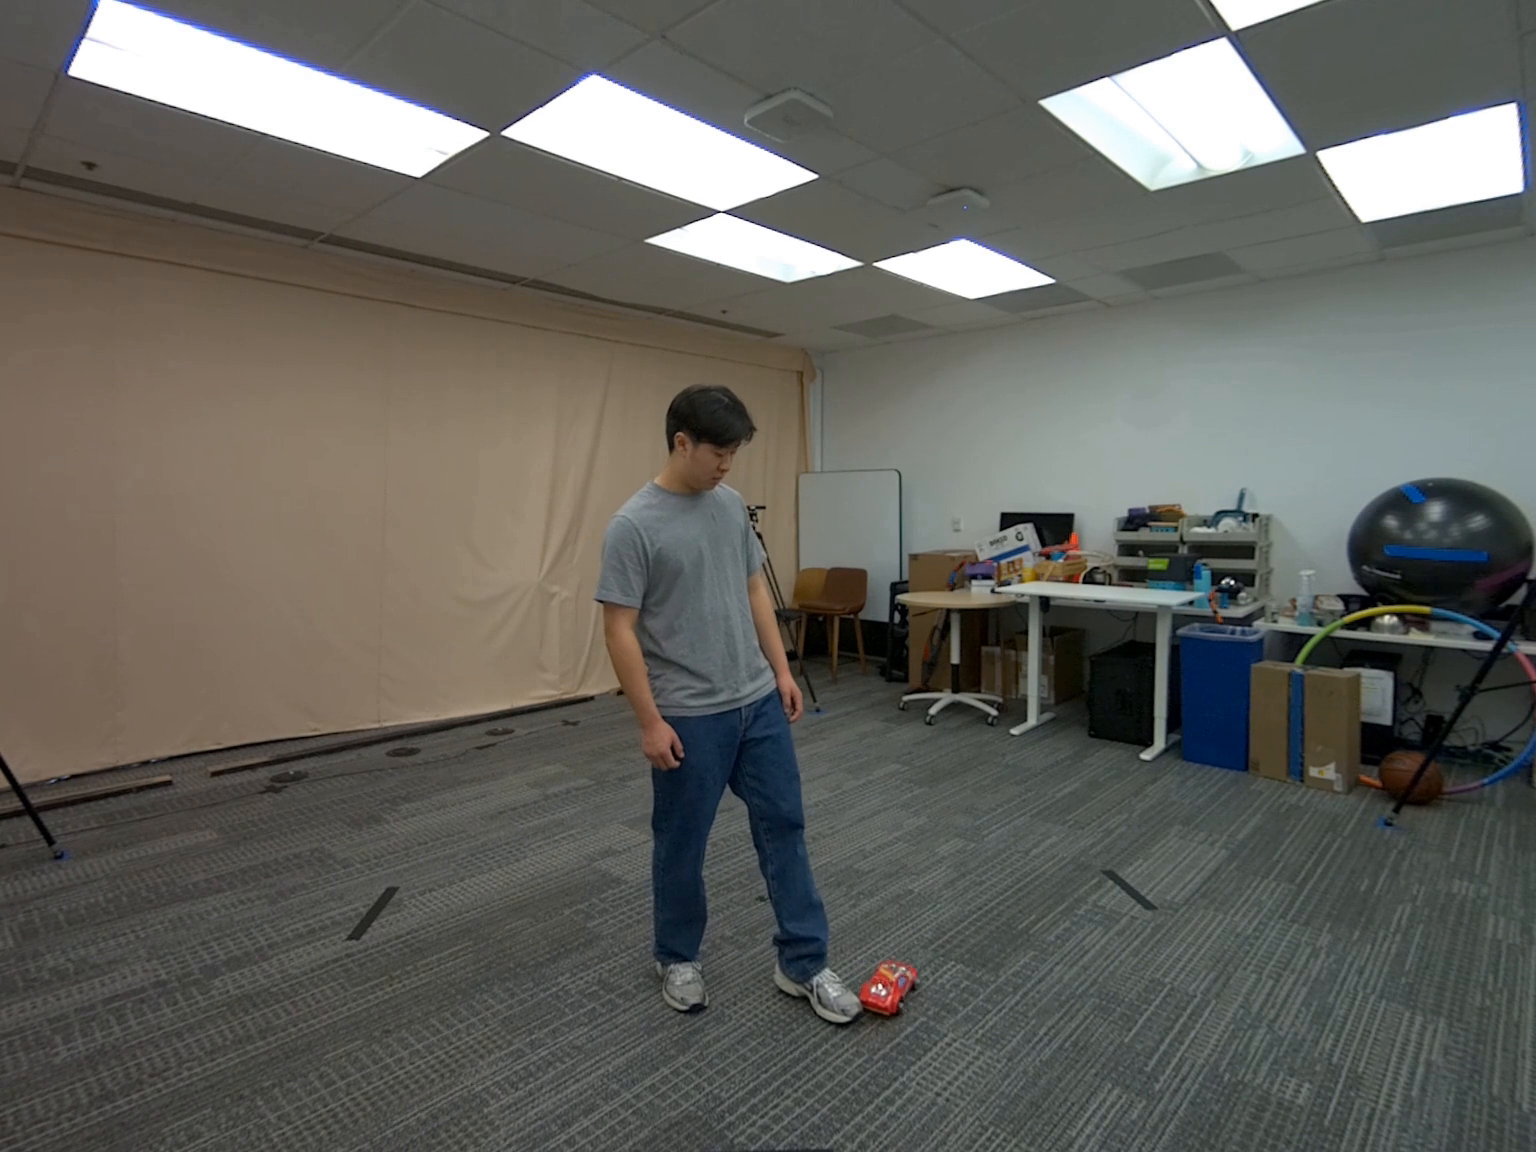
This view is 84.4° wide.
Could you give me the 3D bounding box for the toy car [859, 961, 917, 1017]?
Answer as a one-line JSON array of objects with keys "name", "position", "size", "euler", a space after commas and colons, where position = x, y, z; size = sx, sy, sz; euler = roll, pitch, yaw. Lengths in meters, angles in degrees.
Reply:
[{"name": "toy car", "position": [0.340, 1.165, 2.365], "size": [0.134, 0.083, 0.246], "euler": [5, -4, 30]}]
